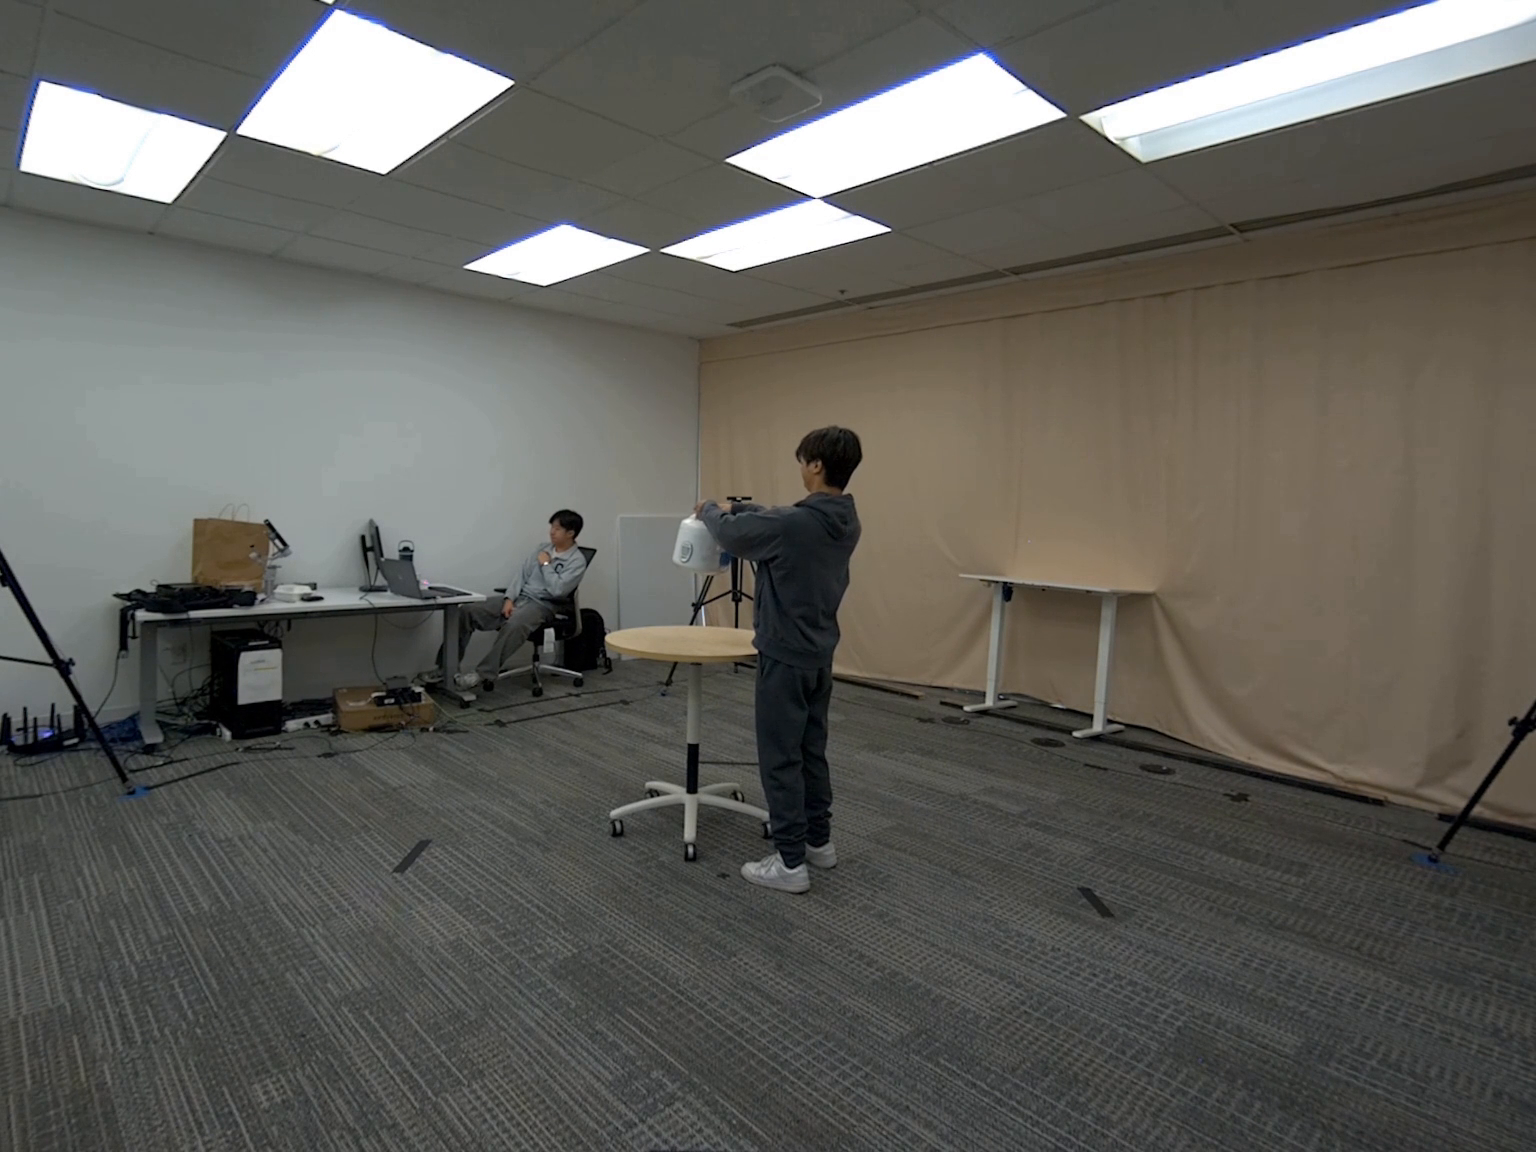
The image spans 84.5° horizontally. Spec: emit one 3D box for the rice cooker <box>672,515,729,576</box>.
[{"bbox_3d":[-0.271,-0.134,3.441,0.226,0.232,0.213,16,7,29],"label":"rice cooker"}]
